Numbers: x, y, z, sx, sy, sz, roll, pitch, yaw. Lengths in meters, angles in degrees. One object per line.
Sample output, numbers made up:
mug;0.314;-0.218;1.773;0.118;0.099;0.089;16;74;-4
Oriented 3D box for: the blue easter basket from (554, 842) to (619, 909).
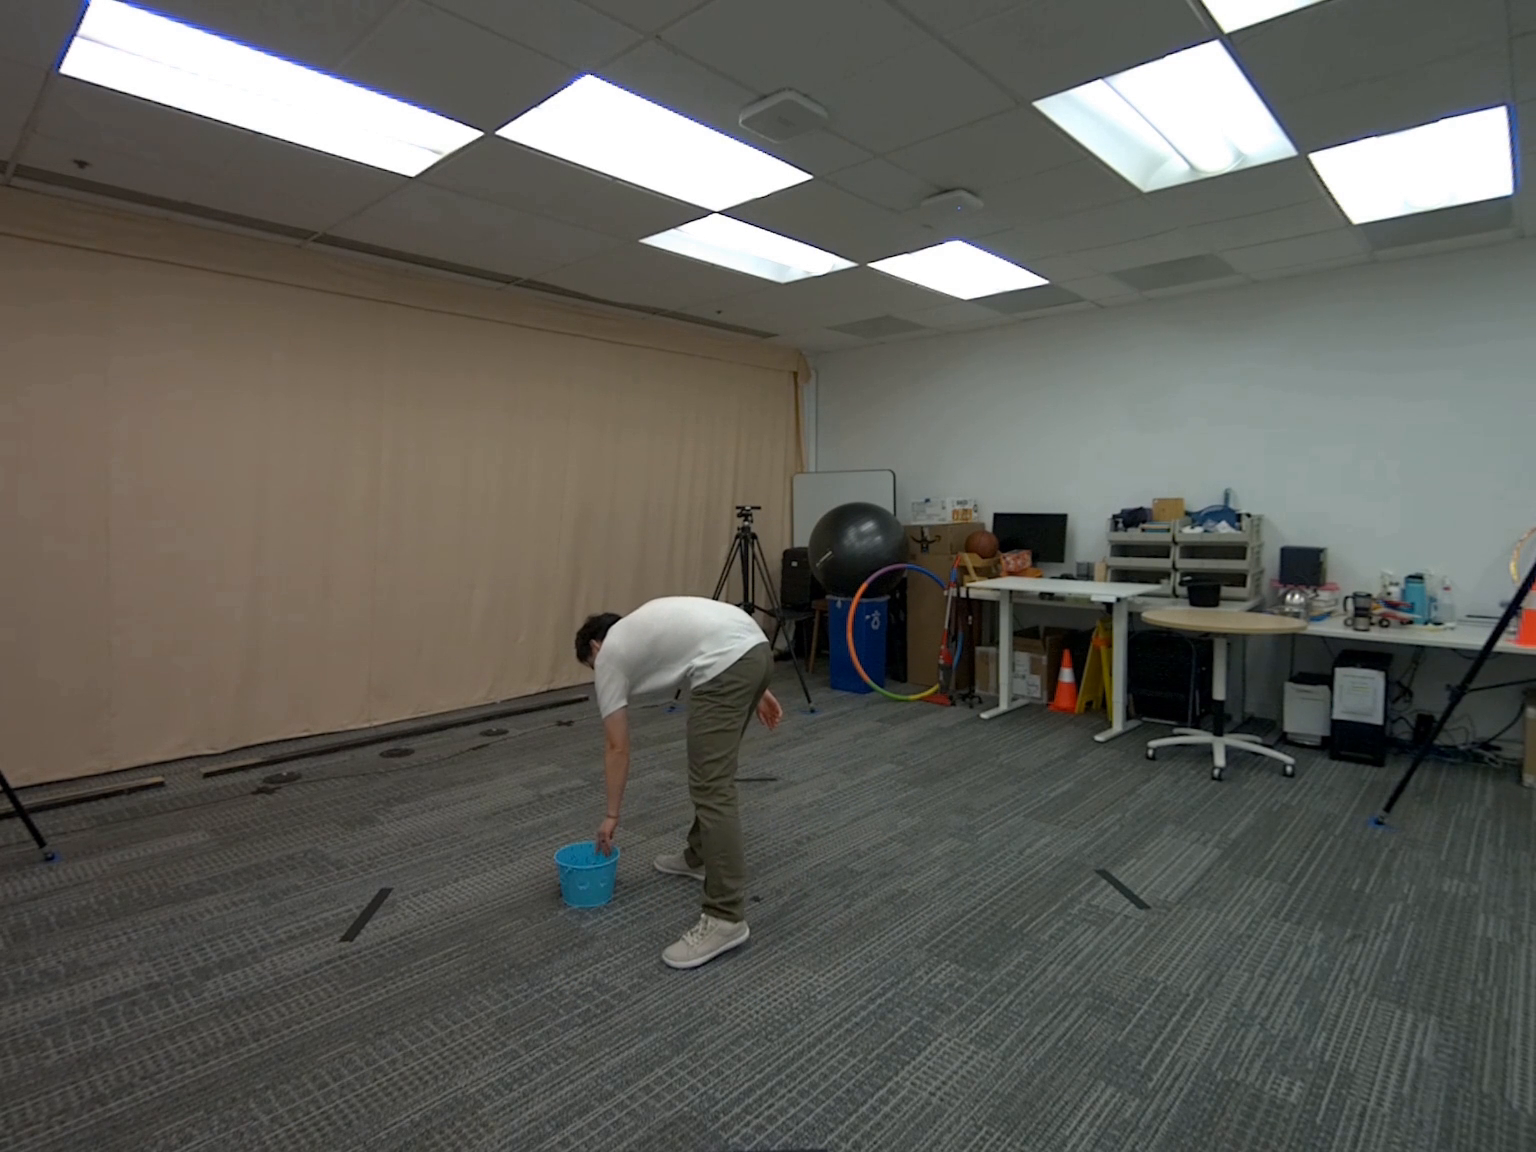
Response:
blue easter basket;-0.643;1.066;3.008;0.243;0.155;0.244;0;5;-2
